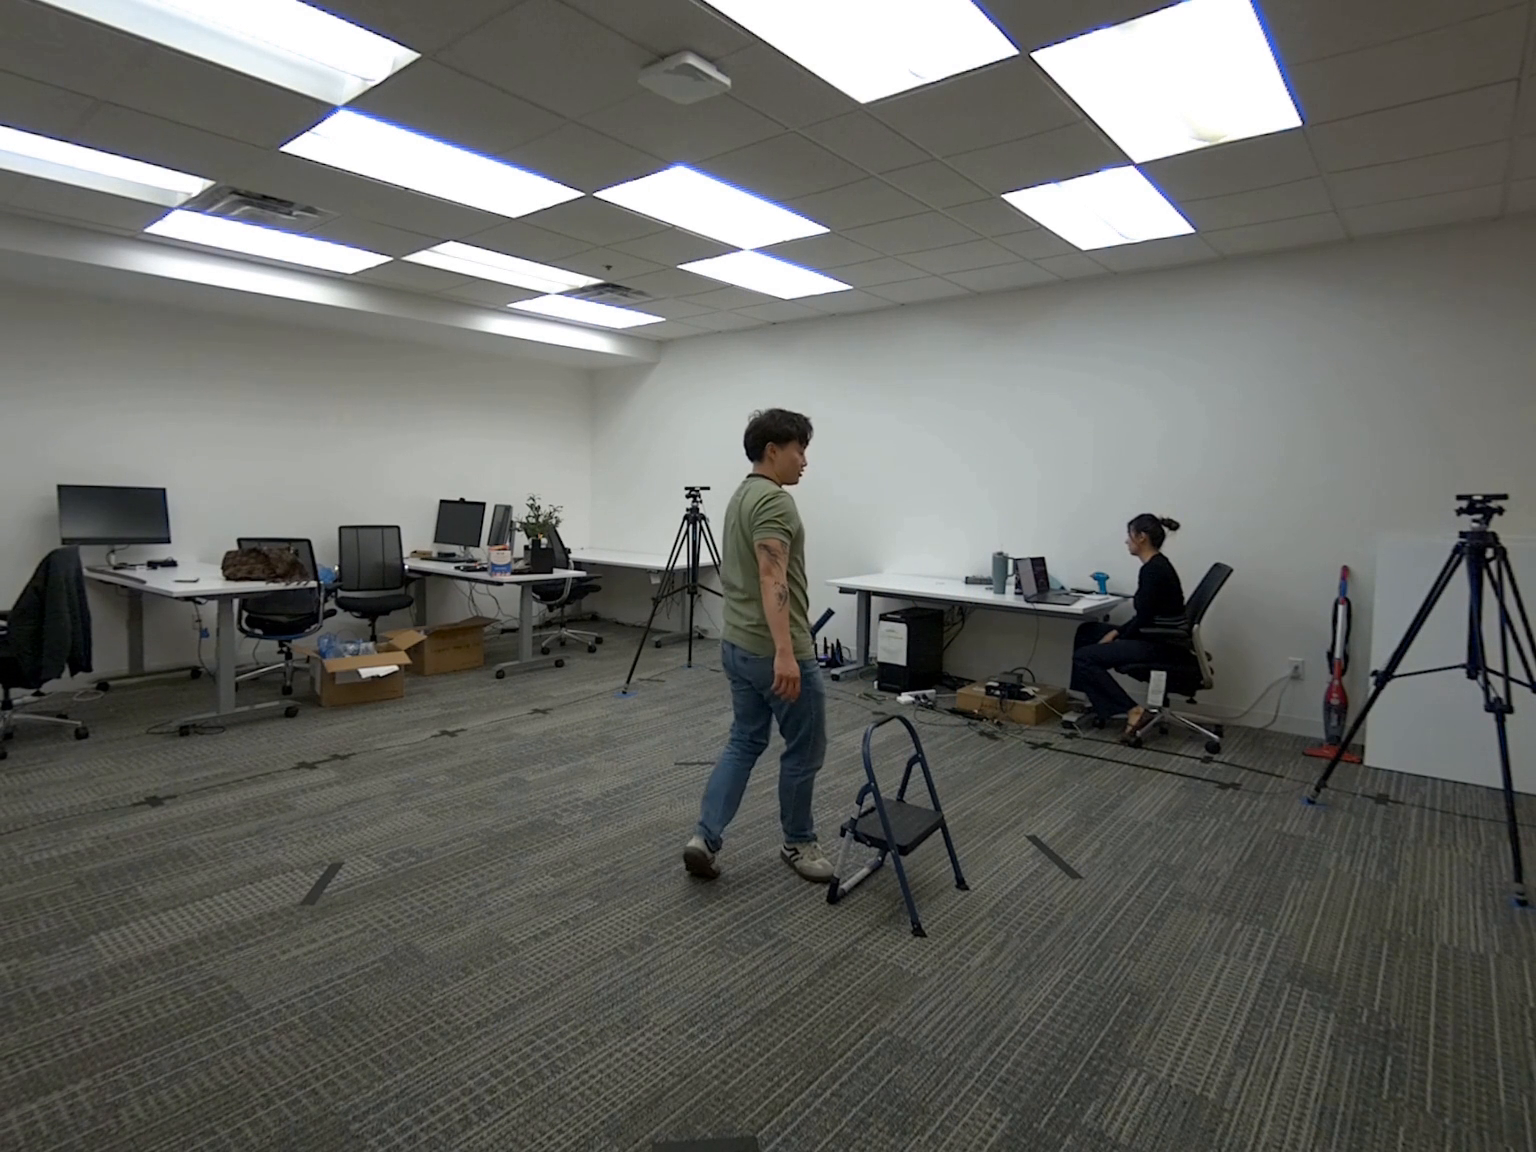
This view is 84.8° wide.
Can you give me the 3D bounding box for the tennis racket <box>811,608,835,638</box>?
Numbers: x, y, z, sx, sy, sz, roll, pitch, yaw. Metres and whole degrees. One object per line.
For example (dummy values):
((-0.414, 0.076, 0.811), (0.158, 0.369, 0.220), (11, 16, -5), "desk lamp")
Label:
((0.107, 0.297, 3.349), (0.218, 0.433, 0.031), (47, 5, 15), "tennis racket")
